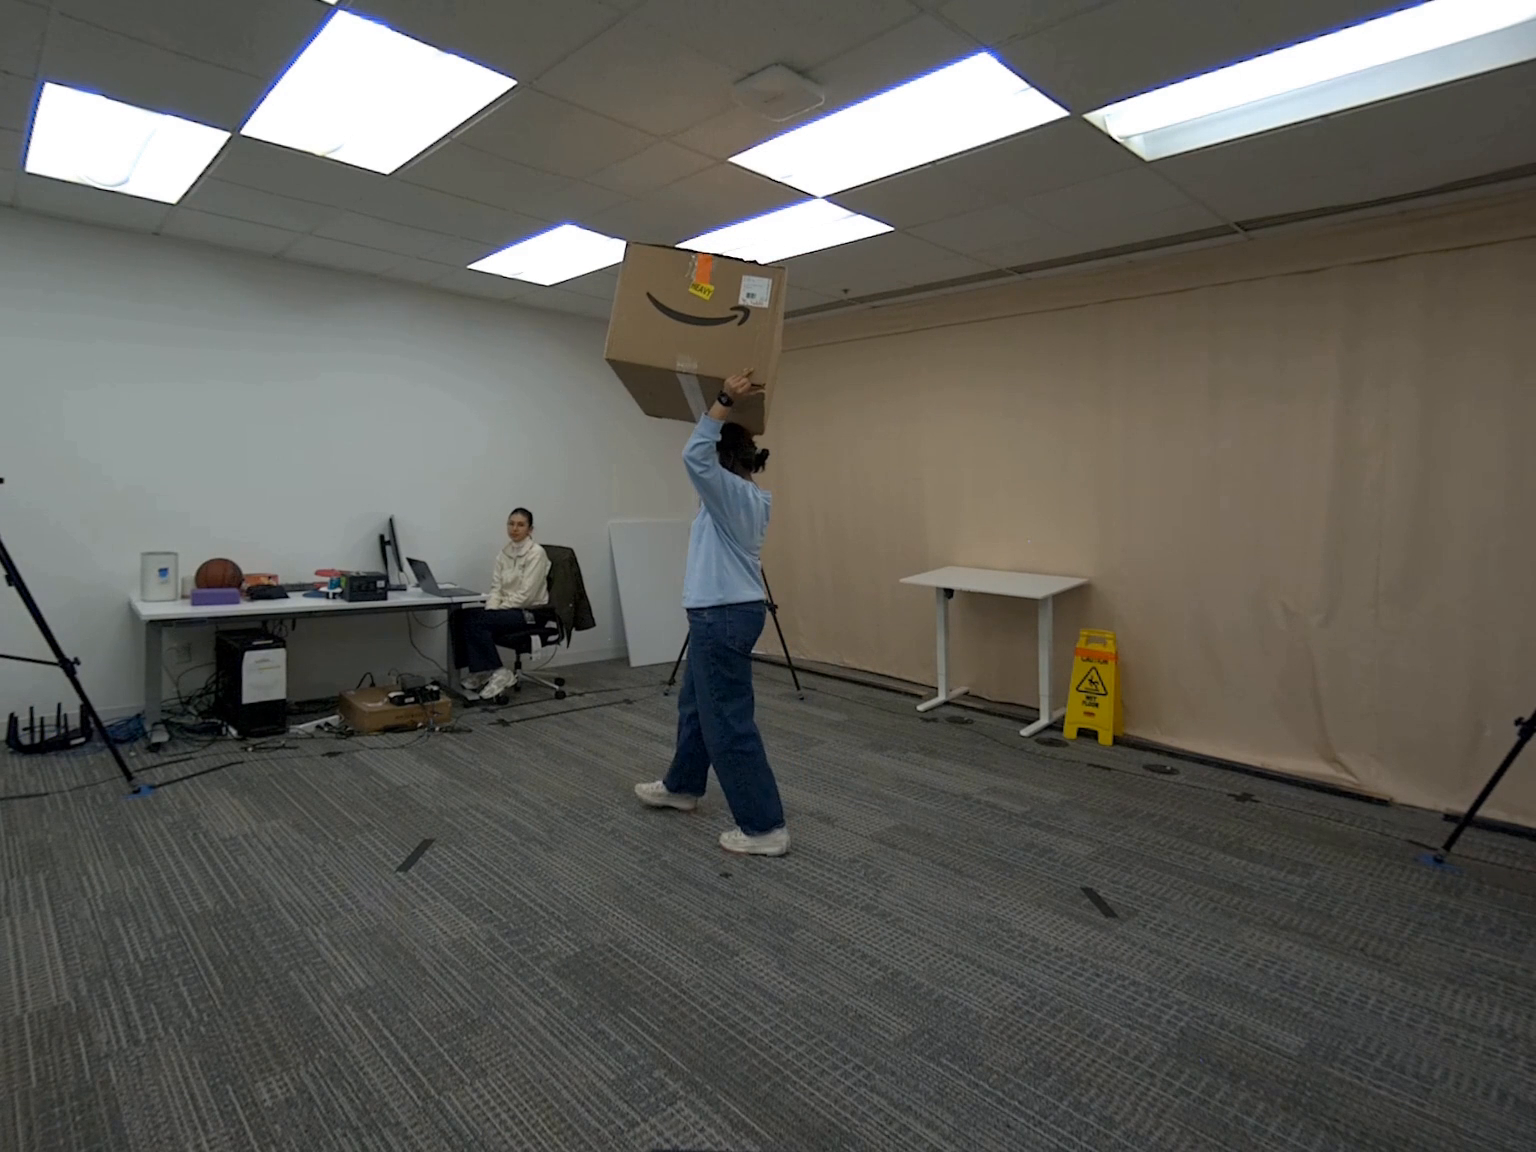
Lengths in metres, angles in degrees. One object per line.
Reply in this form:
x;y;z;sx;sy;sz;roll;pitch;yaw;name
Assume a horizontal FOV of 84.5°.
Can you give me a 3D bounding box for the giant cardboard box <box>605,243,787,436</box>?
-0.267;-0.917;3.425;0.578;0.426;1.024;10;0;0;giant cardboard box
